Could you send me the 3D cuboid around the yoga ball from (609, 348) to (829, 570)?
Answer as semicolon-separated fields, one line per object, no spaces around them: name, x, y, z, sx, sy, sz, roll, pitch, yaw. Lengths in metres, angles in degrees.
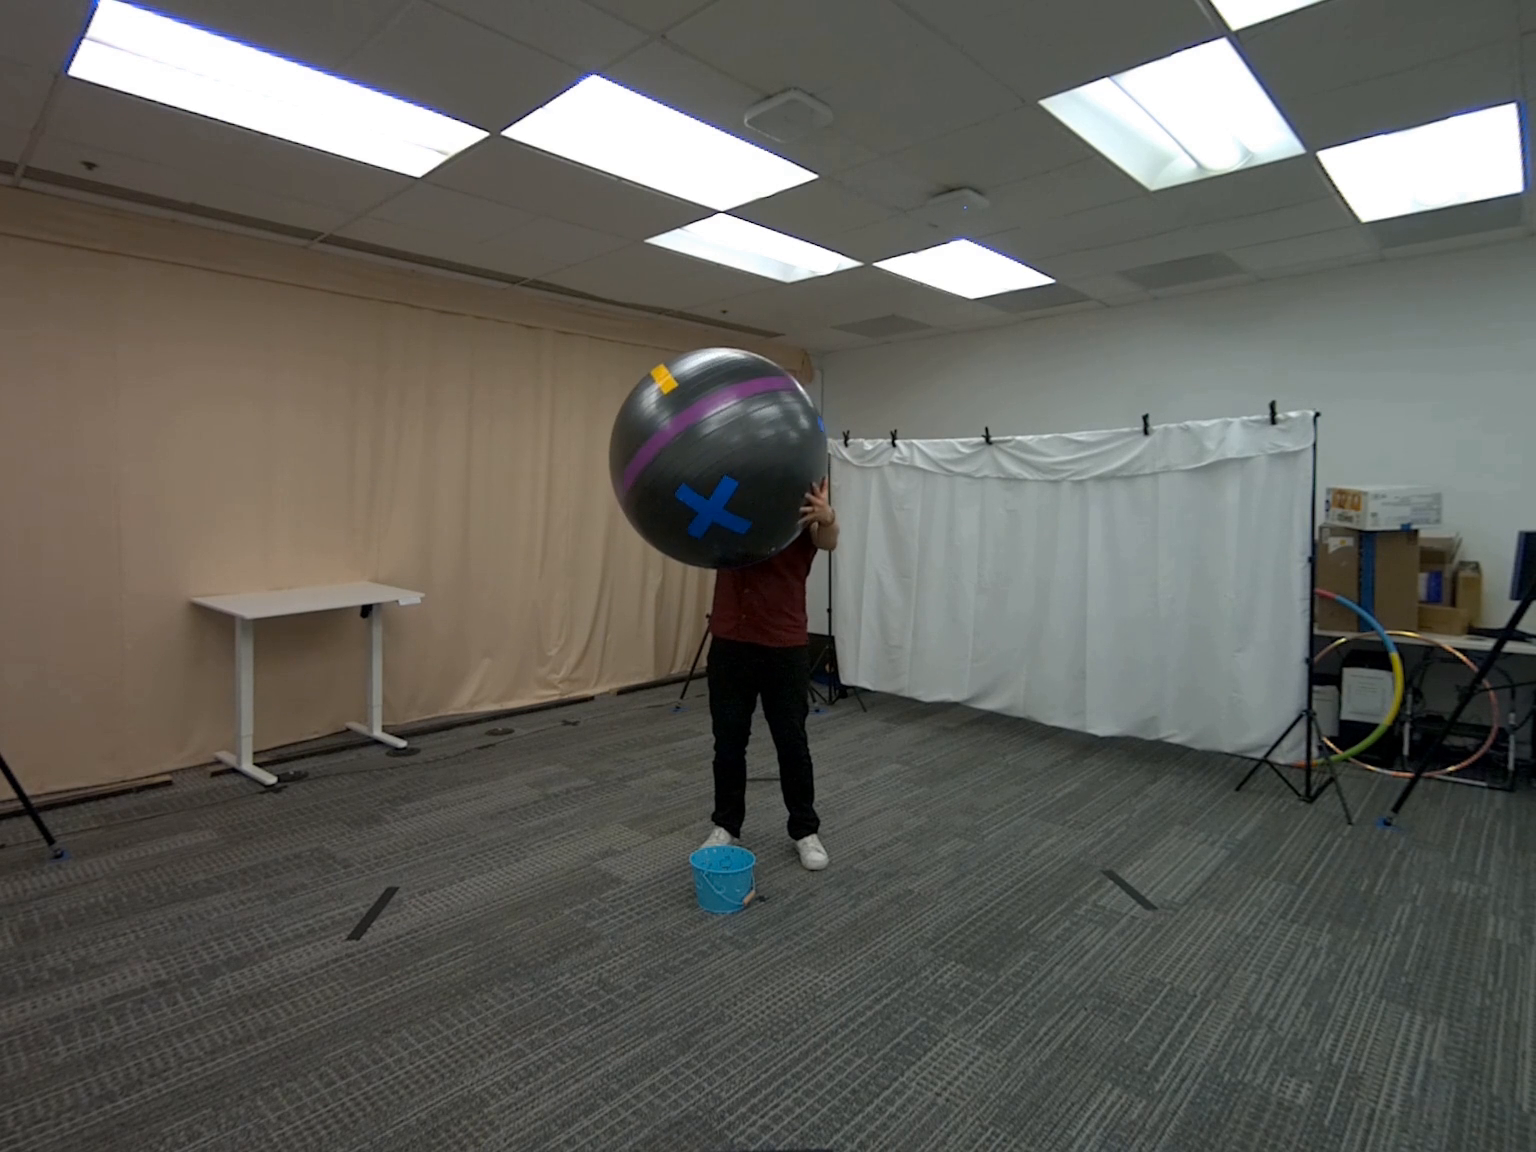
yoga ball;-0.173;-0.394;2.920;0.757;0.756;0.760;0;4;-2
